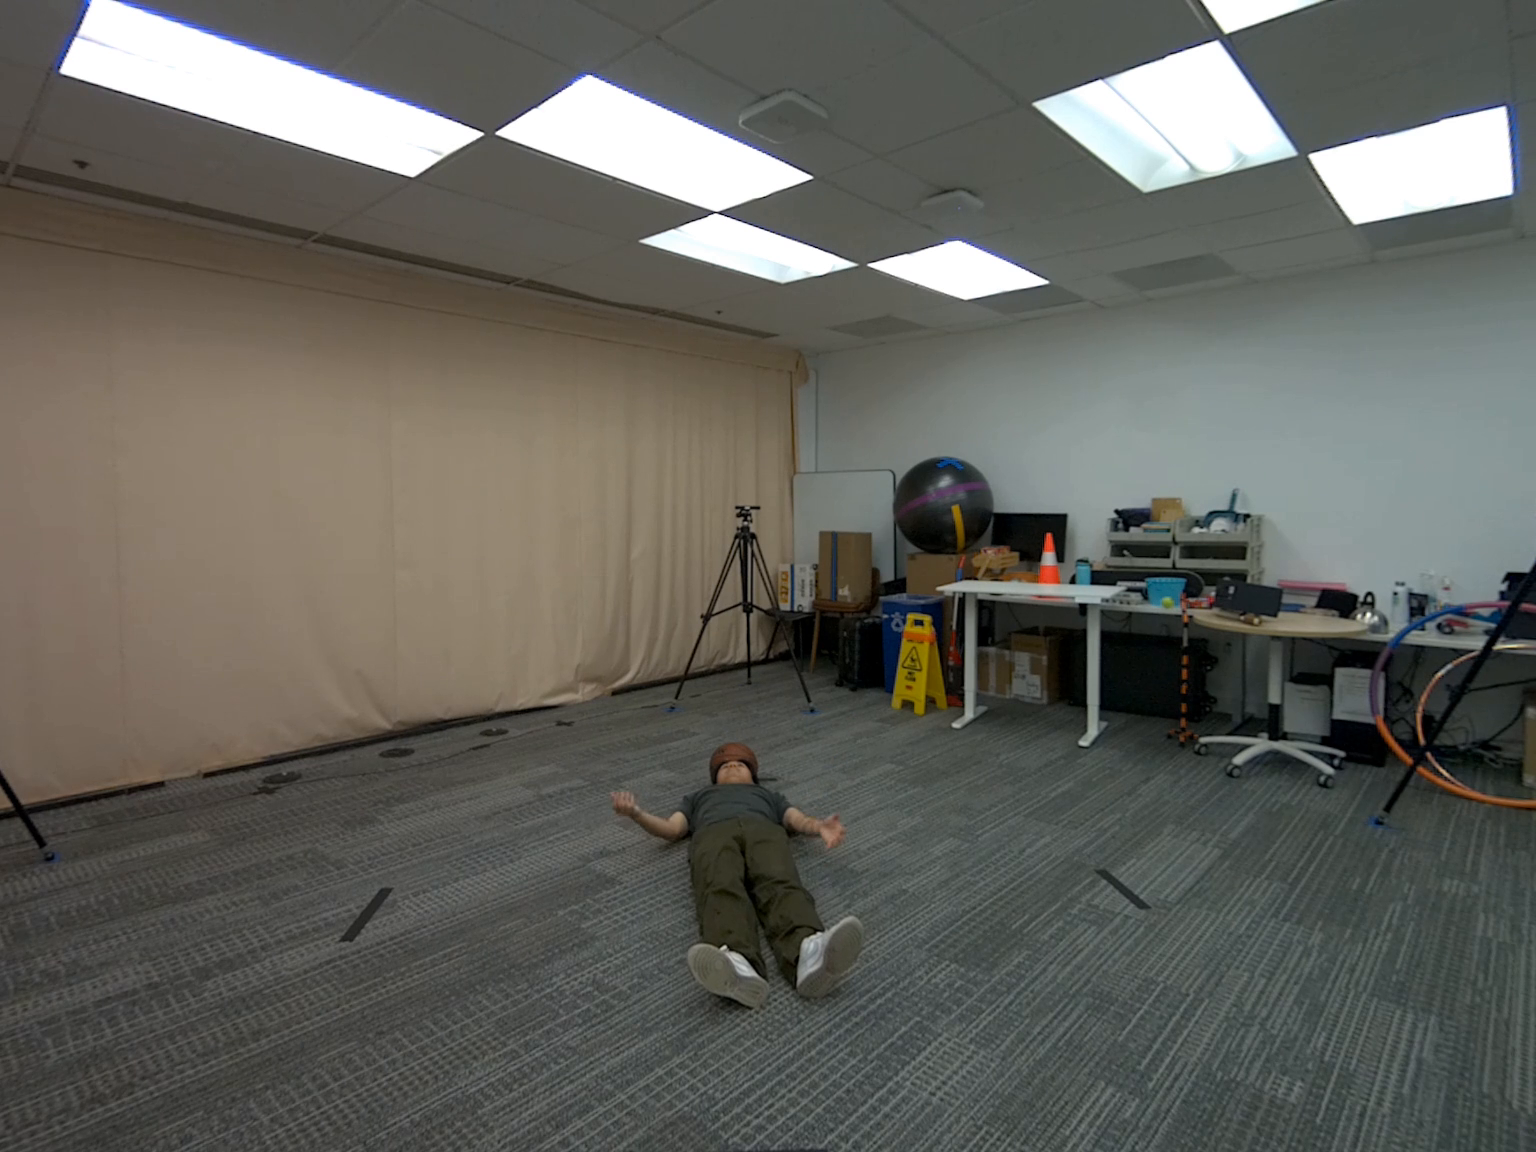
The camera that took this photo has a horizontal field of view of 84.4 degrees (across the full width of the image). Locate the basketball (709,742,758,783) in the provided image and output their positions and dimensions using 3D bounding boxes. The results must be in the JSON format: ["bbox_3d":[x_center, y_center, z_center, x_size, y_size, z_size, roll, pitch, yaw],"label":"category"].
[{"bbox_3d":[-0.171,0.932,4.122,0.236,0.235,0.237,0,4,-2],"label":"basketball"}]
